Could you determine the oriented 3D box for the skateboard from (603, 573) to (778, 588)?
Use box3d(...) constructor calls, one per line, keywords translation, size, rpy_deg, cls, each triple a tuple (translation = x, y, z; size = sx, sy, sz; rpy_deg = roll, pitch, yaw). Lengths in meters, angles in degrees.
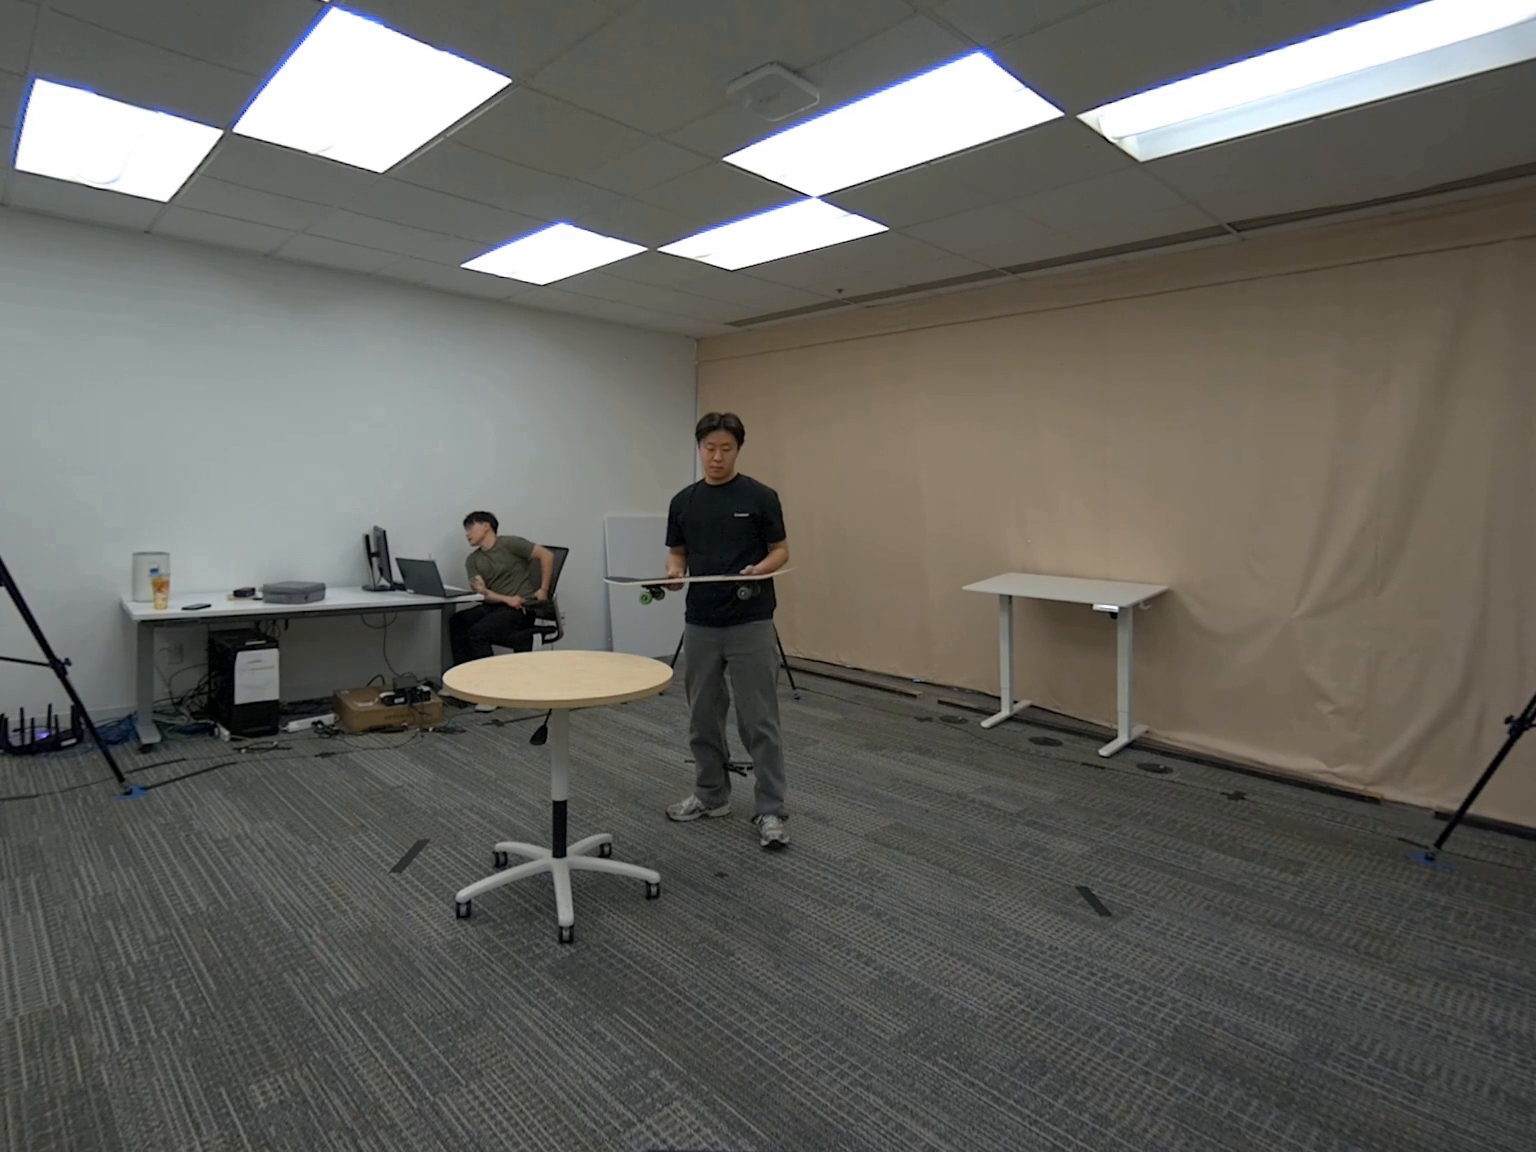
box3d(translation=(-0.275, 0.045, 3.278), size=(0.796, 0.110, 0.191), rpy_deg=(-2, 2, 17), cls="skateboard")
